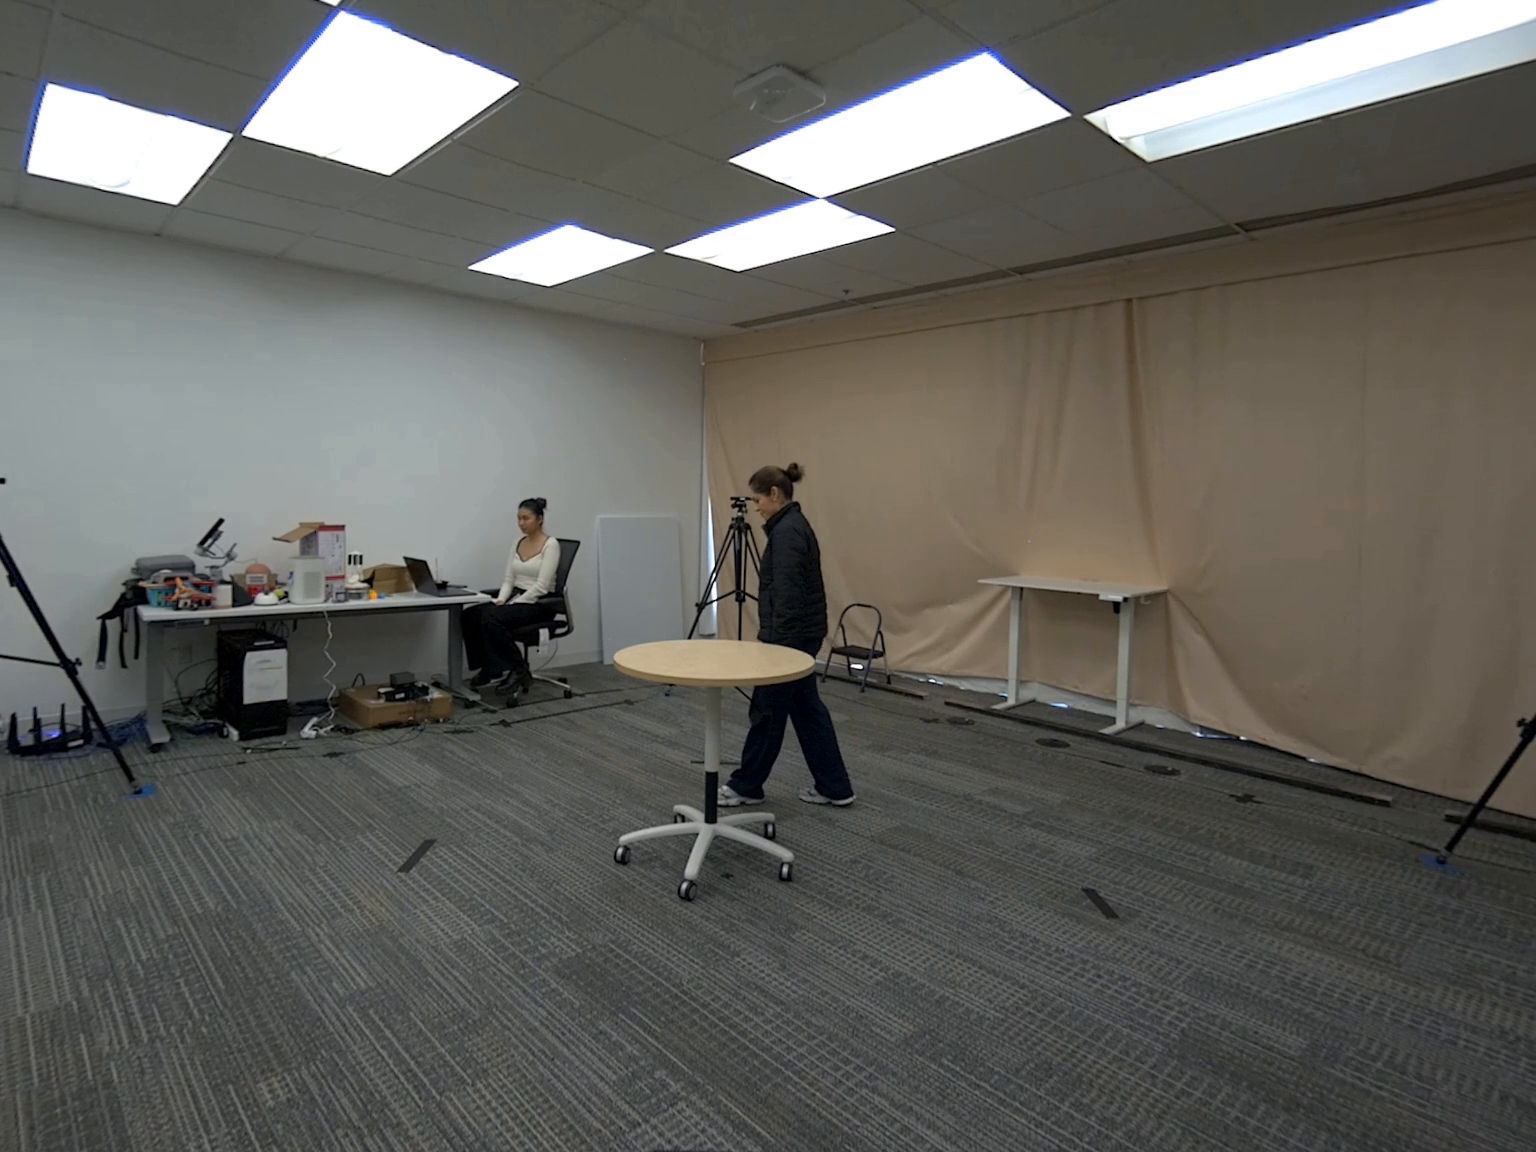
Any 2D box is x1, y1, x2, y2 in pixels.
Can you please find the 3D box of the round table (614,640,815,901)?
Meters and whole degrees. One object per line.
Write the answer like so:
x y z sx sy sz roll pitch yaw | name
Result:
-0.208 0.701 3.227 0.784 0.784 0.788 1 4 -1 | round table
